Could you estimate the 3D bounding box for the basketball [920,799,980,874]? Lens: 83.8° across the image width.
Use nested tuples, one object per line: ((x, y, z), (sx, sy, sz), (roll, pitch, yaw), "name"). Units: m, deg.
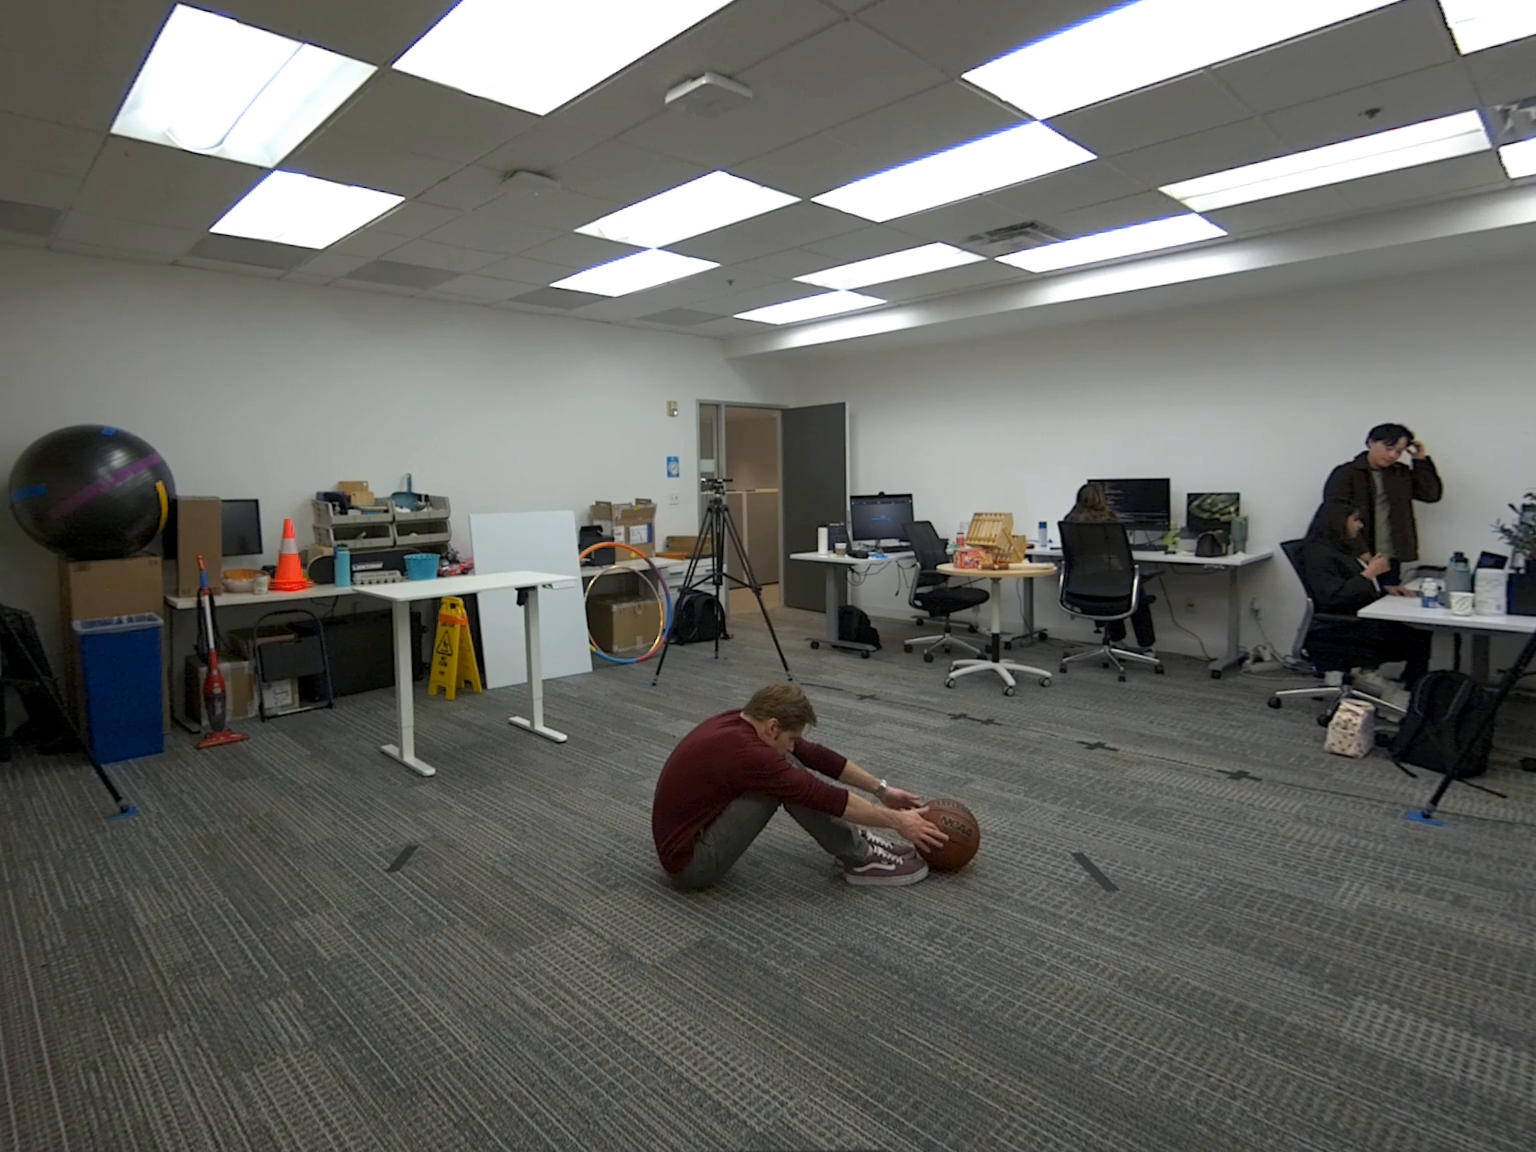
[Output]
((0.629, 0.911, 3.049), (0.236, 0.235, 0.237), (-1, 5, -2), "basketball")
